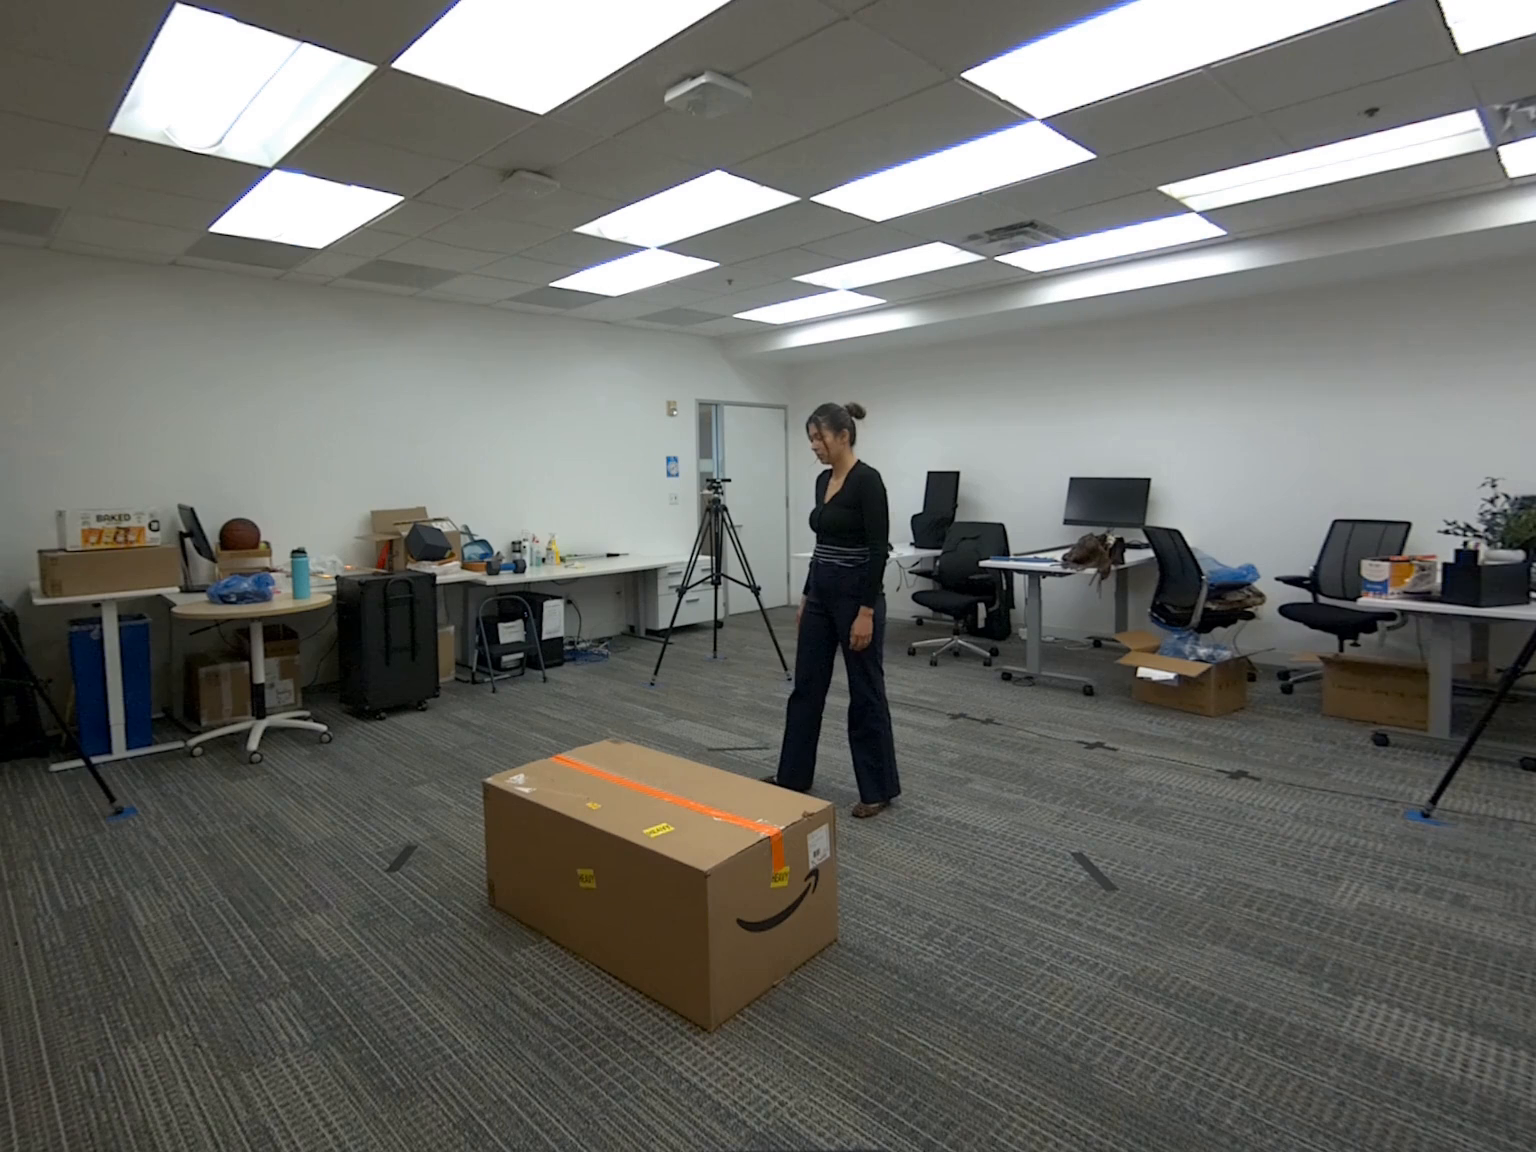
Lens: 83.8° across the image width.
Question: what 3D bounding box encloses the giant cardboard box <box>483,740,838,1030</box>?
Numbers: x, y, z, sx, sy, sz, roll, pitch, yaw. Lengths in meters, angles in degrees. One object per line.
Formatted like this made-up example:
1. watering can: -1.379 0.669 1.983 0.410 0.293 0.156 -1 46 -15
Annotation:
1. giant cardboard box: -0.363 0.883 2.702 1.057 0.424 0.563 4 9 41
